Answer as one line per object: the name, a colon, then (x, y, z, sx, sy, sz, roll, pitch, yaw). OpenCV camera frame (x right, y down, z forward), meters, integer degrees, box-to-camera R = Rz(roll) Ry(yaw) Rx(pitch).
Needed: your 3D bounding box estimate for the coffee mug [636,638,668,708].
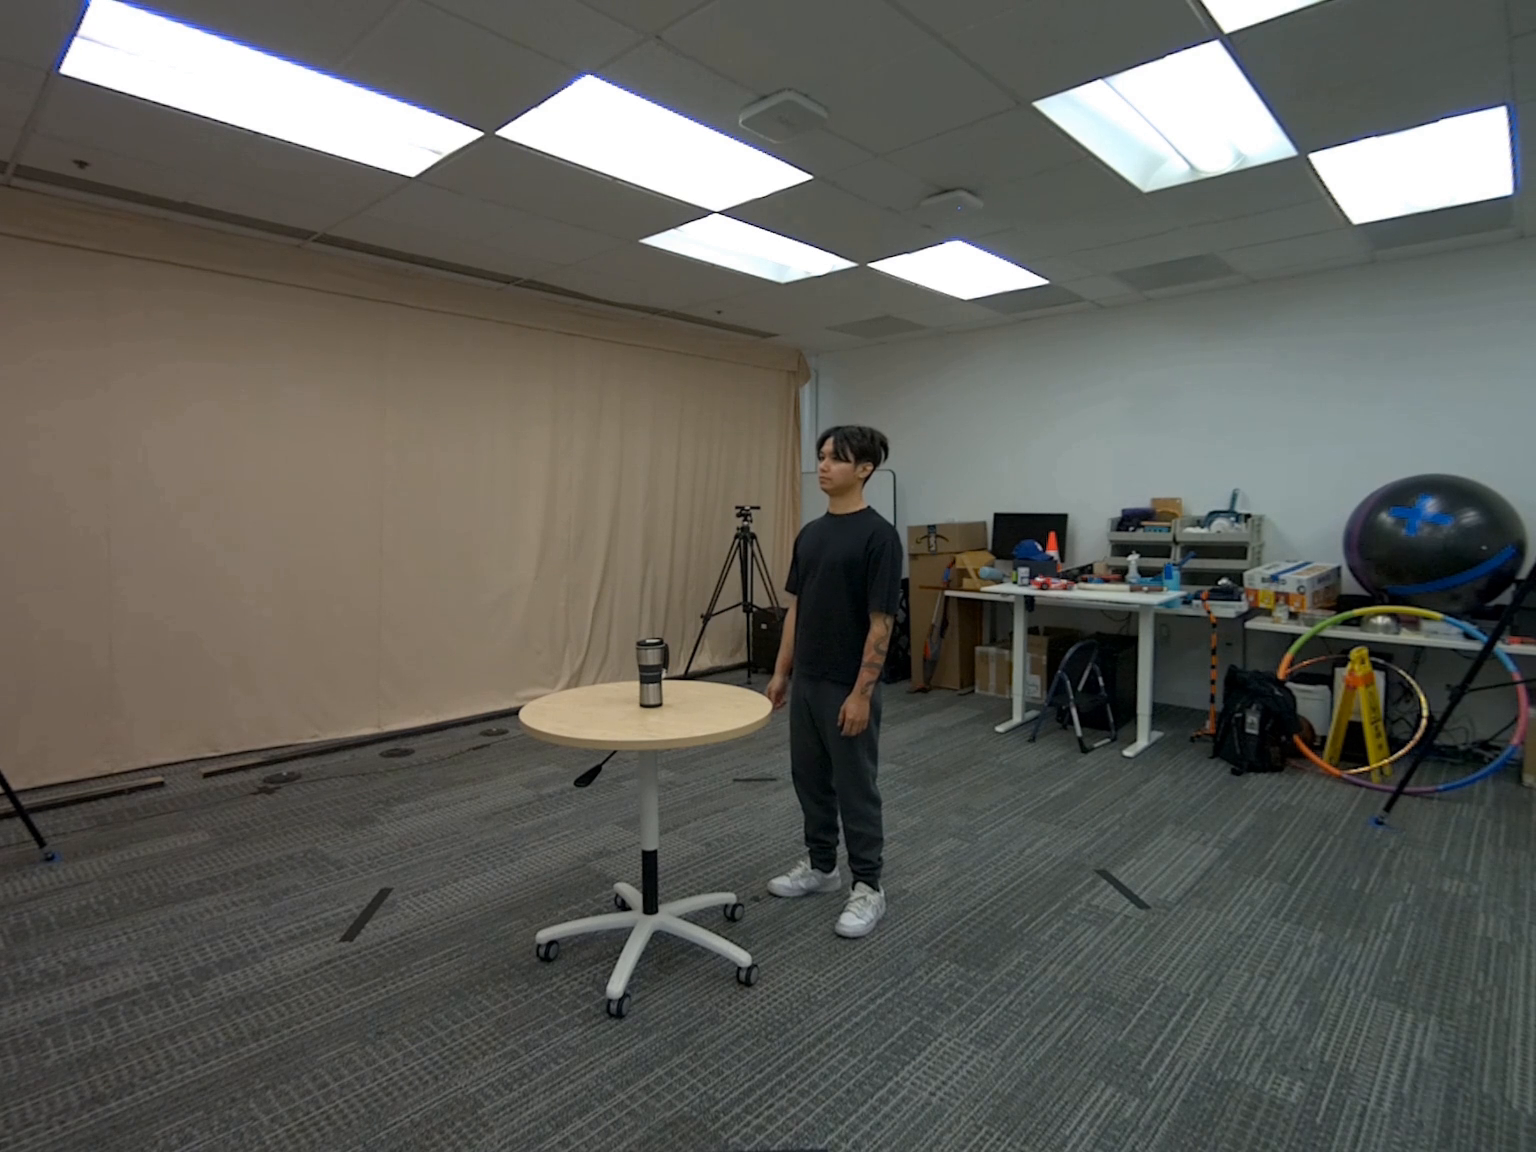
coffee mug: (-0.338, 0.298, 2.589, 0.118, 0.203, 0.090, -6, 1, -36)
